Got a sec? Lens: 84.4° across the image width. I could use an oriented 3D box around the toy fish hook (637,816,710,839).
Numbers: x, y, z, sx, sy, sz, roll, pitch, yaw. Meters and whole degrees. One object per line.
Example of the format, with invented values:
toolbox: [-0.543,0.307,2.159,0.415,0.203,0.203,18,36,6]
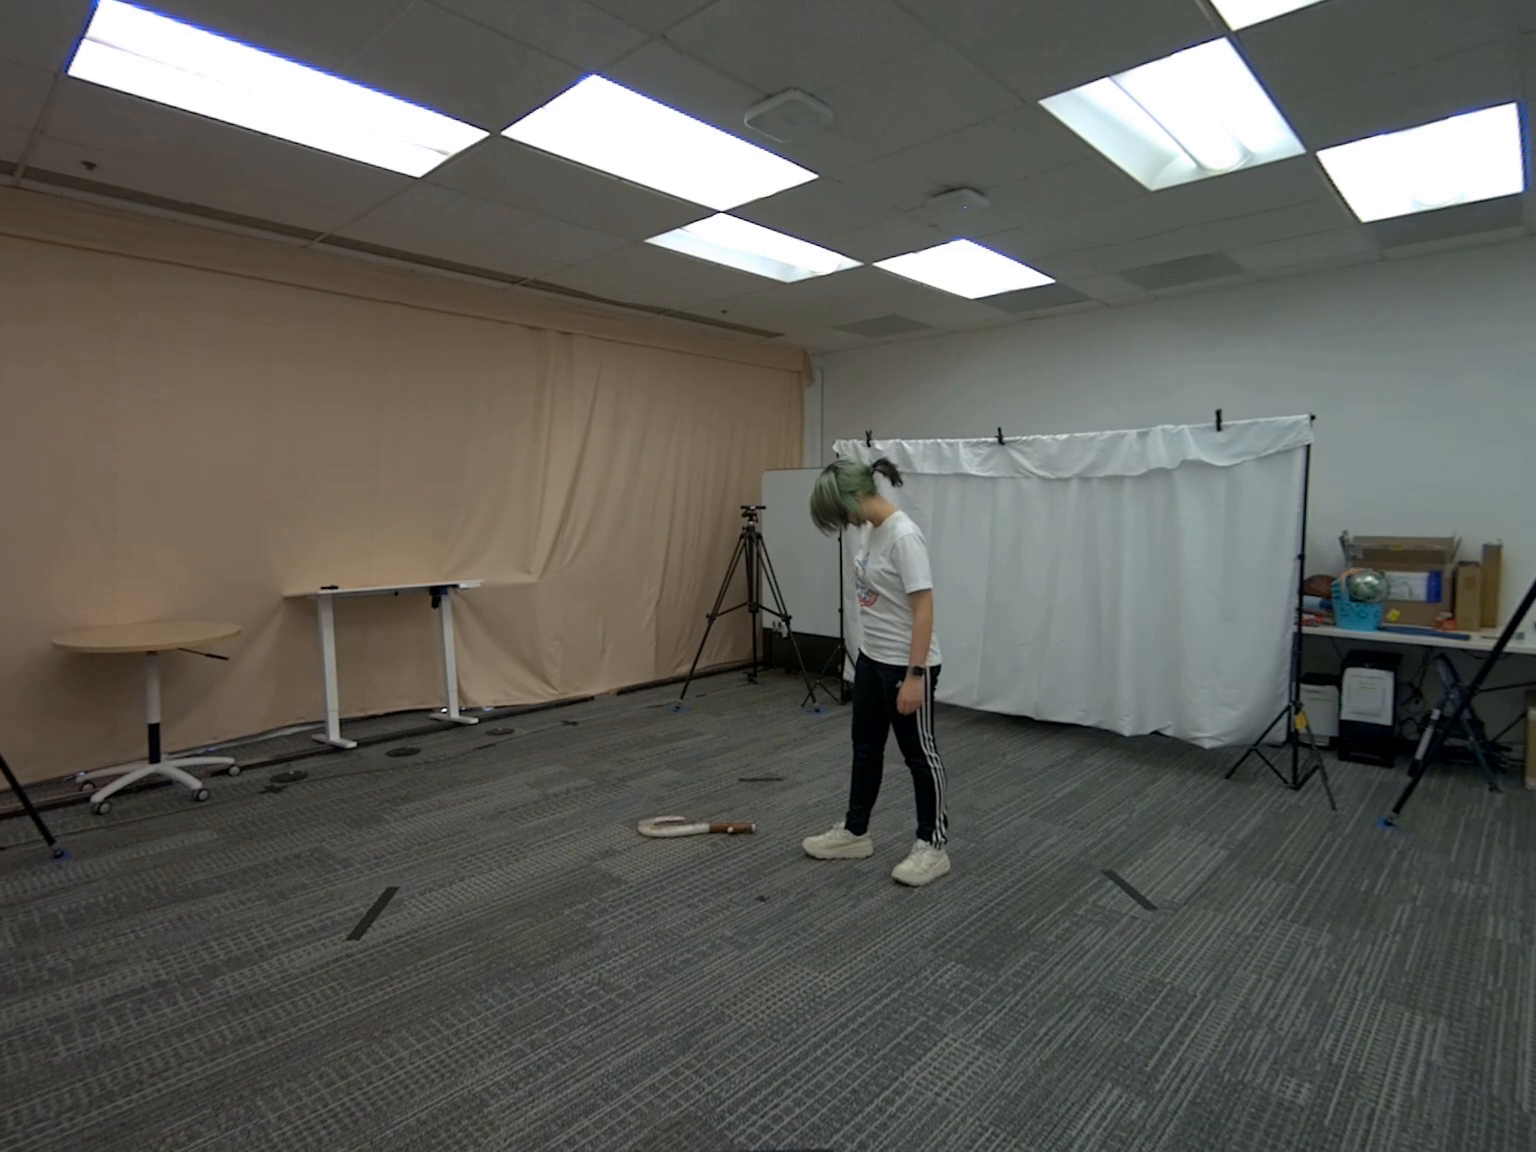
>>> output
toy fish hook: [-0.307,1.069,3.630,0.506,0.048,0.225,0,5,-1]
